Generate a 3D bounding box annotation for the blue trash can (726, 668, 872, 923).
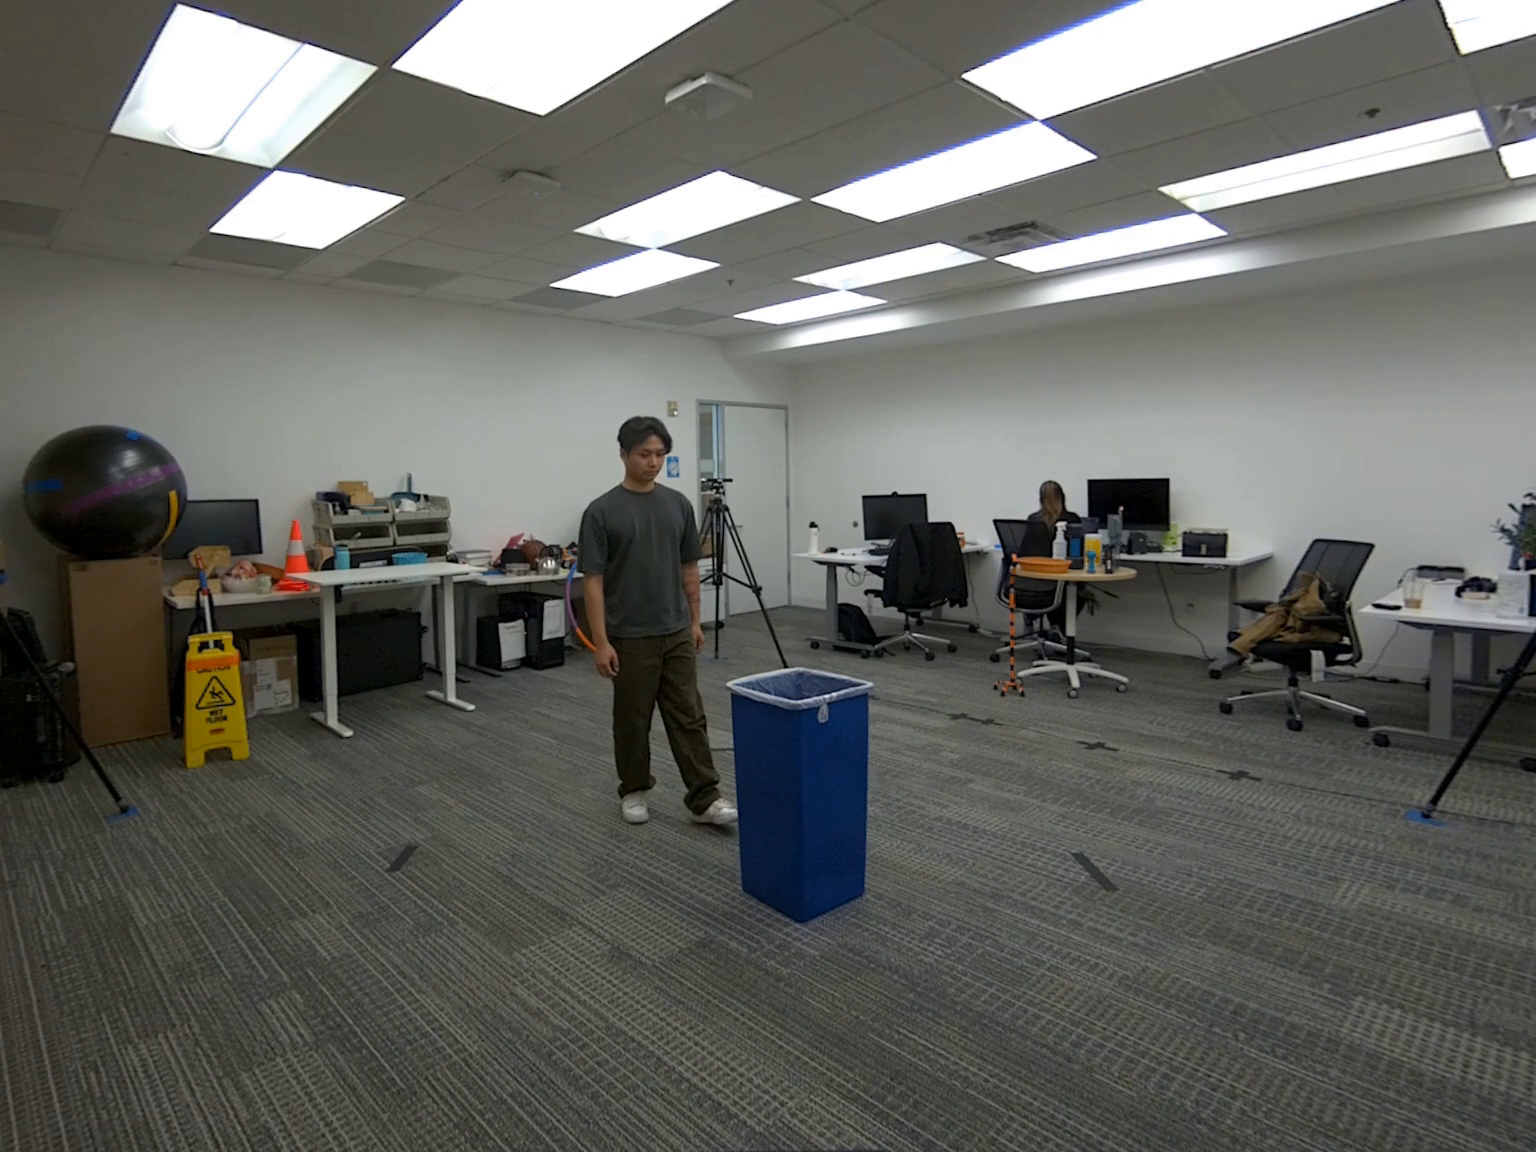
[{"bbox_3d":[0.118,0.712,2.871,0.364,0.711,0.389,-5,5,-41],"label":"blue trash can"}]
